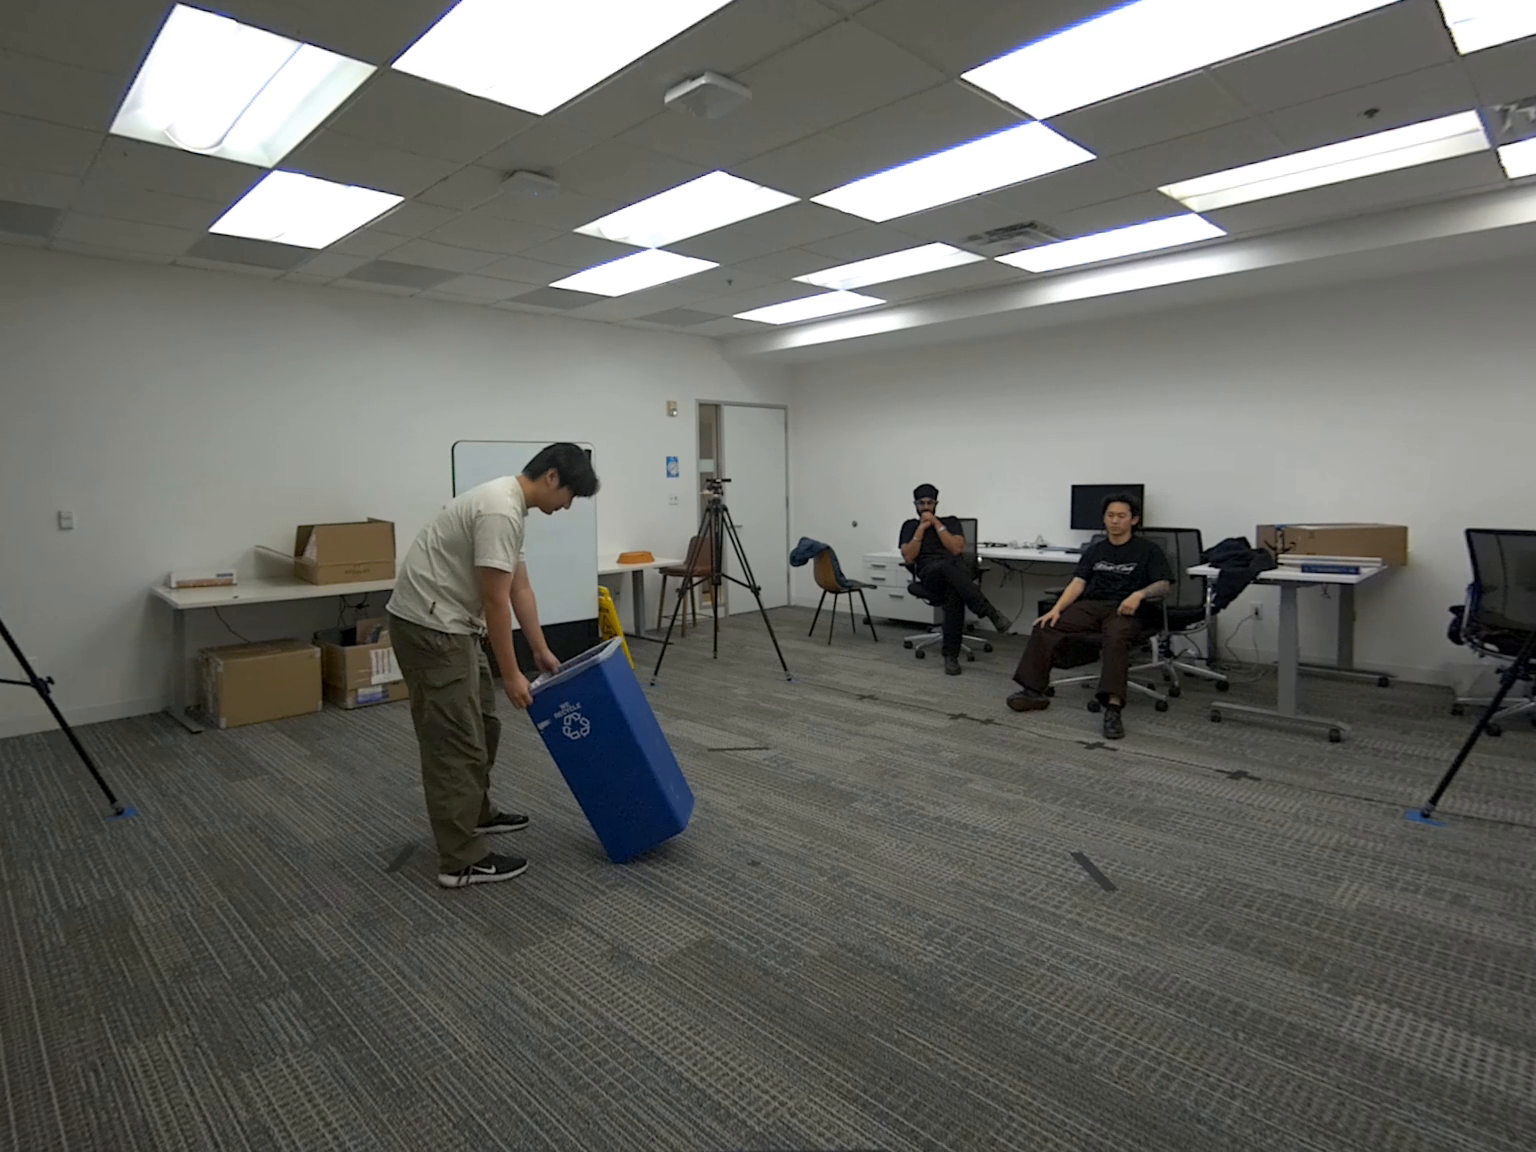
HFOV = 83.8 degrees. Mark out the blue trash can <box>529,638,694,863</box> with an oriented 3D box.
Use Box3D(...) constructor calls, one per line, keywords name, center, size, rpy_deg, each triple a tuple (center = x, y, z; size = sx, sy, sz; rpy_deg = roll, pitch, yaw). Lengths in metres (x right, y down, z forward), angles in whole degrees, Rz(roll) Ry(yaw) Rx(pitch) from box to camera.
Box3D(name="blue trash can", center=(-0.589, 0.649, 3.234), size=(0.375, 0.712, 0.378), rpy_deg=(-27, 2, 6))
